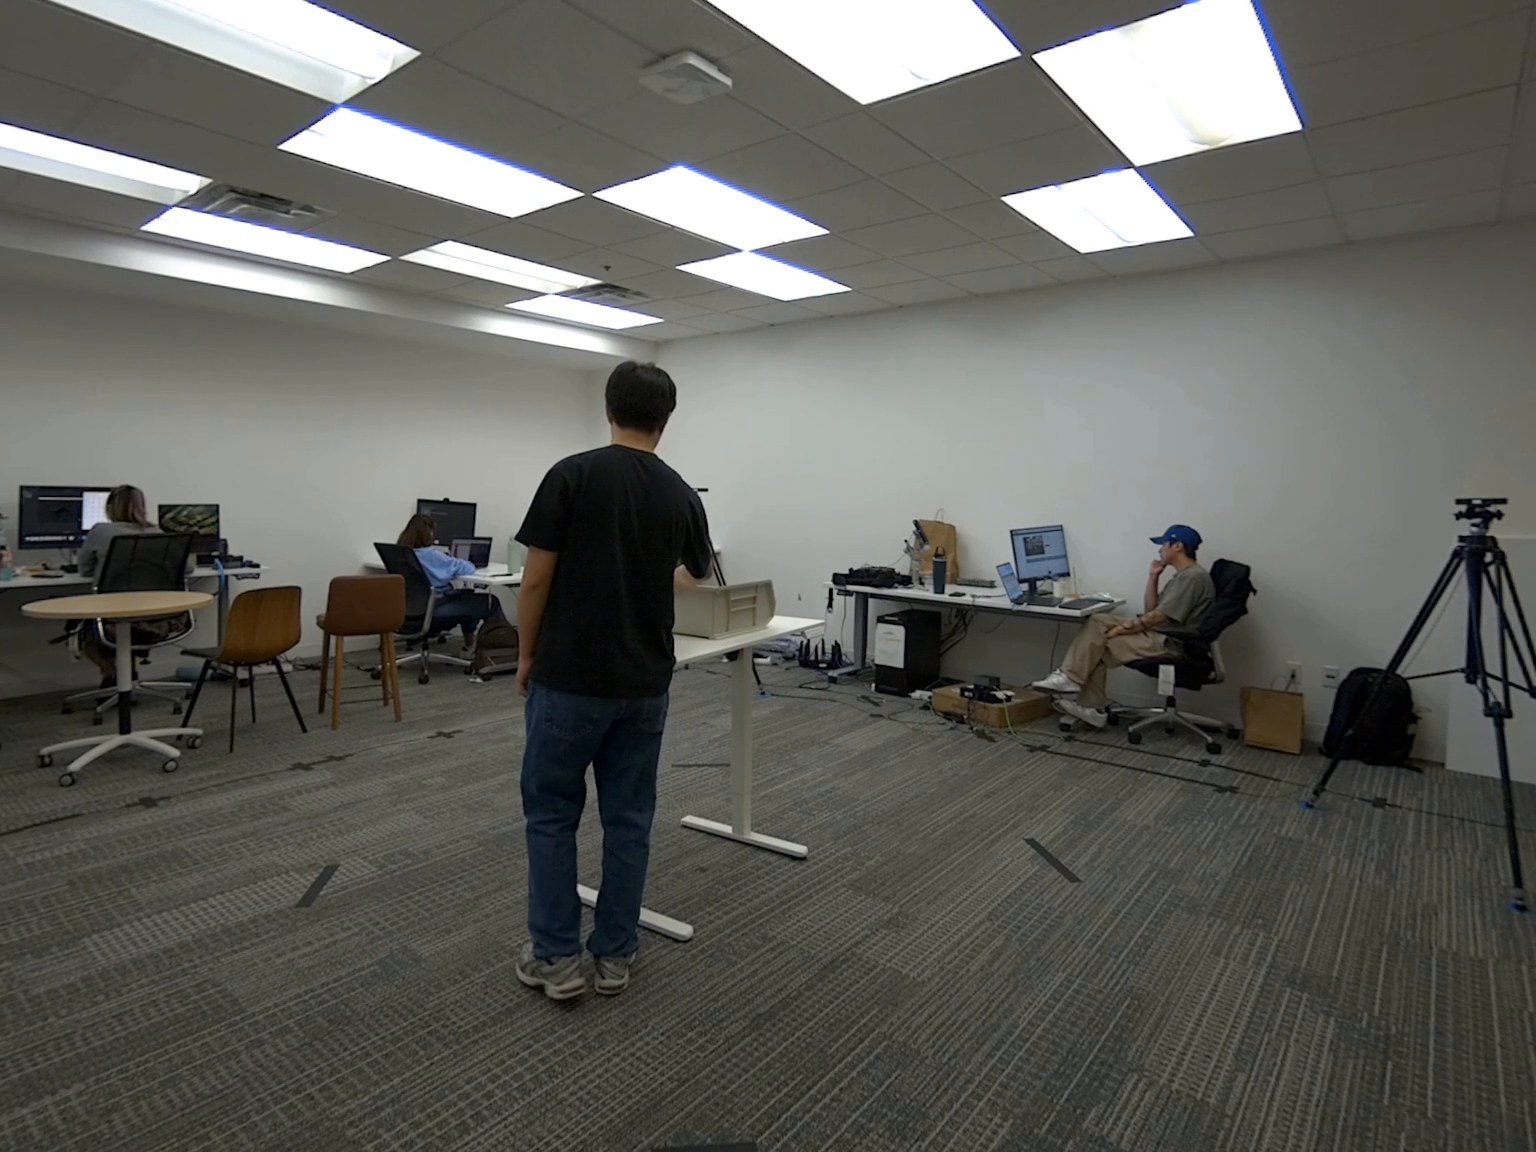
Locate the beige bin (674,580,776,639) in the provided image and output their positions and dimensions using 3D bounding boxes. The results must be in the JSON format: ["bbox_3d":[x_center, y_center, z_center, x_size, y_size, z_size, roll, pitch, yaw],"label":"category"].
[{"bbox_3d":[-0.255,0.099,3.097,0.436,0.188,0.367,5,8,35],"label":"beige bin"}]
